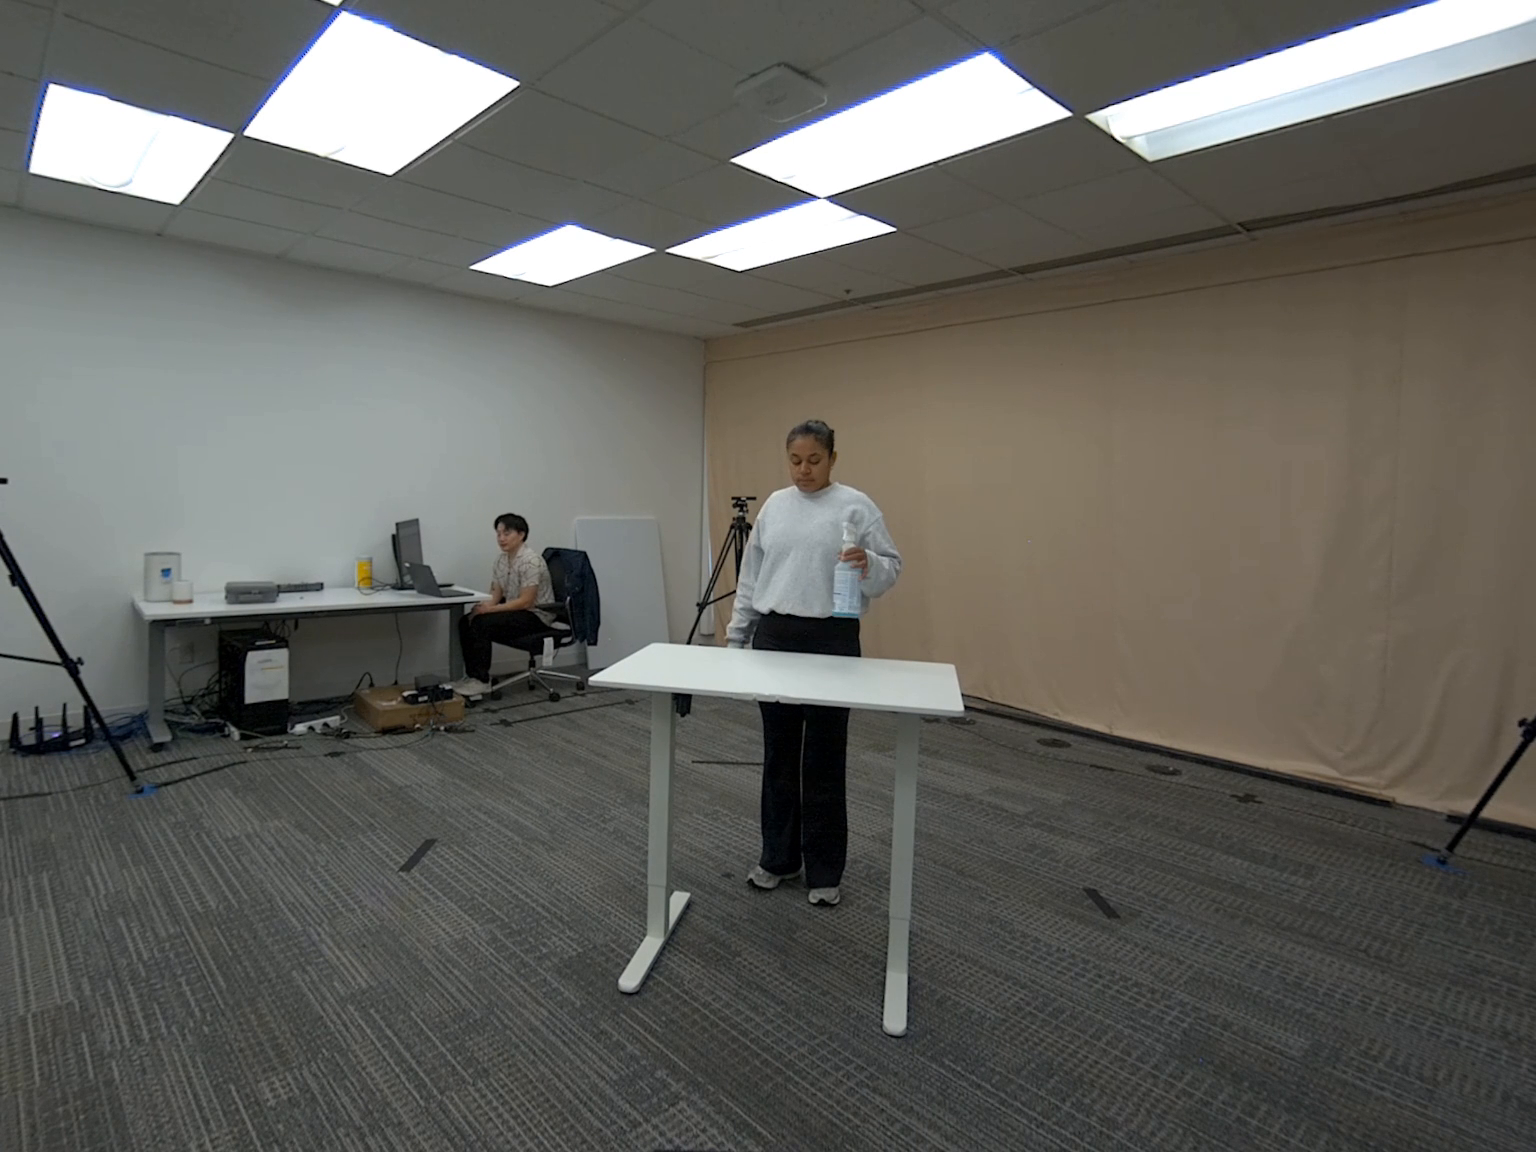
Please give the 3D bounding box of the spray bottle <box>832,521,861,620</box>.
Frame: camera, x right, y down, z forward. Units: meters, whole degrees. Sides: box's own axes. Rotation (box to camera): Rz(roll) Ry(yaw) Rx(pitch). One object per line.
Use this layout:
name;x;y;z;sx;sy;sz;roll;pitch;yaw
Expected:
spray bottle;0.241;-0.008;2.653;0.088;0.298;0.089;4;-5;-35
